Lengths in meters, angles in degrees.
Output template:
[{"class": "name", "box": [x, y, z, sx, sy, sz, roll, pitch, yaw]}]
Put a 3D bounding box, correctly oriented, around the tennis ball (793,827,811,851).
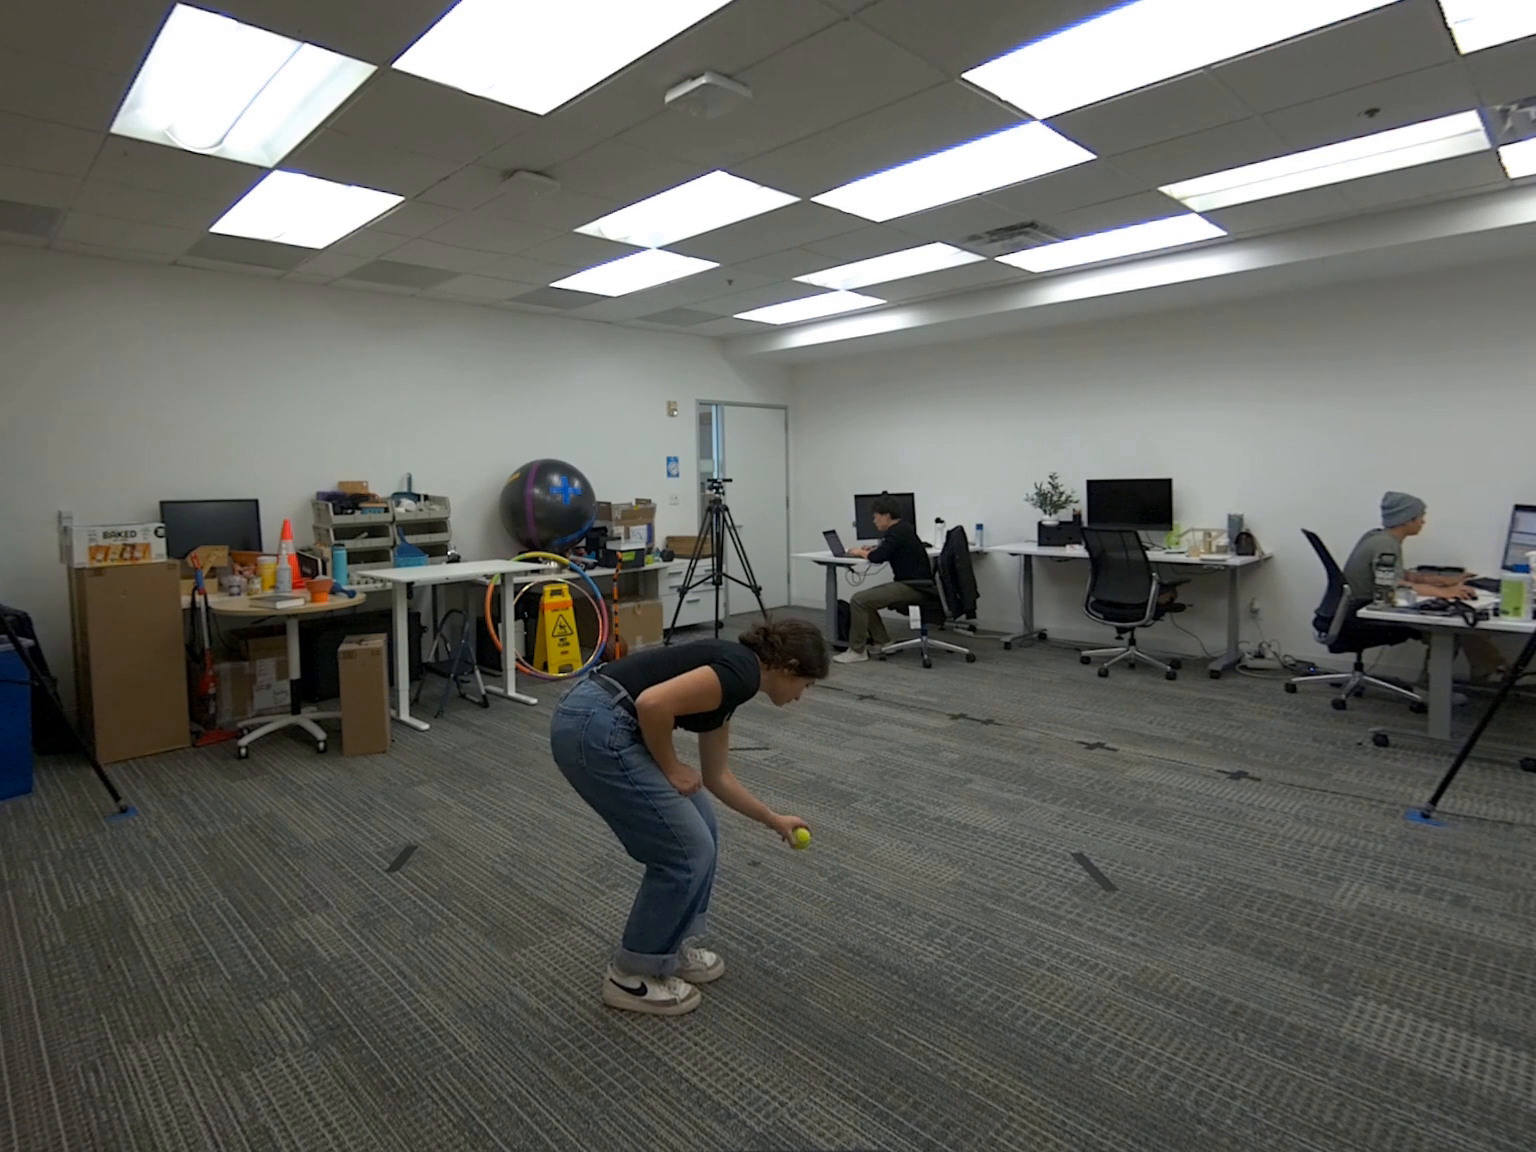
[{"class": "tennis ball", "box": [0.099, 0.771, 2.619, 0.066, 0.066, 0.067, -1, 5, -2]}]
